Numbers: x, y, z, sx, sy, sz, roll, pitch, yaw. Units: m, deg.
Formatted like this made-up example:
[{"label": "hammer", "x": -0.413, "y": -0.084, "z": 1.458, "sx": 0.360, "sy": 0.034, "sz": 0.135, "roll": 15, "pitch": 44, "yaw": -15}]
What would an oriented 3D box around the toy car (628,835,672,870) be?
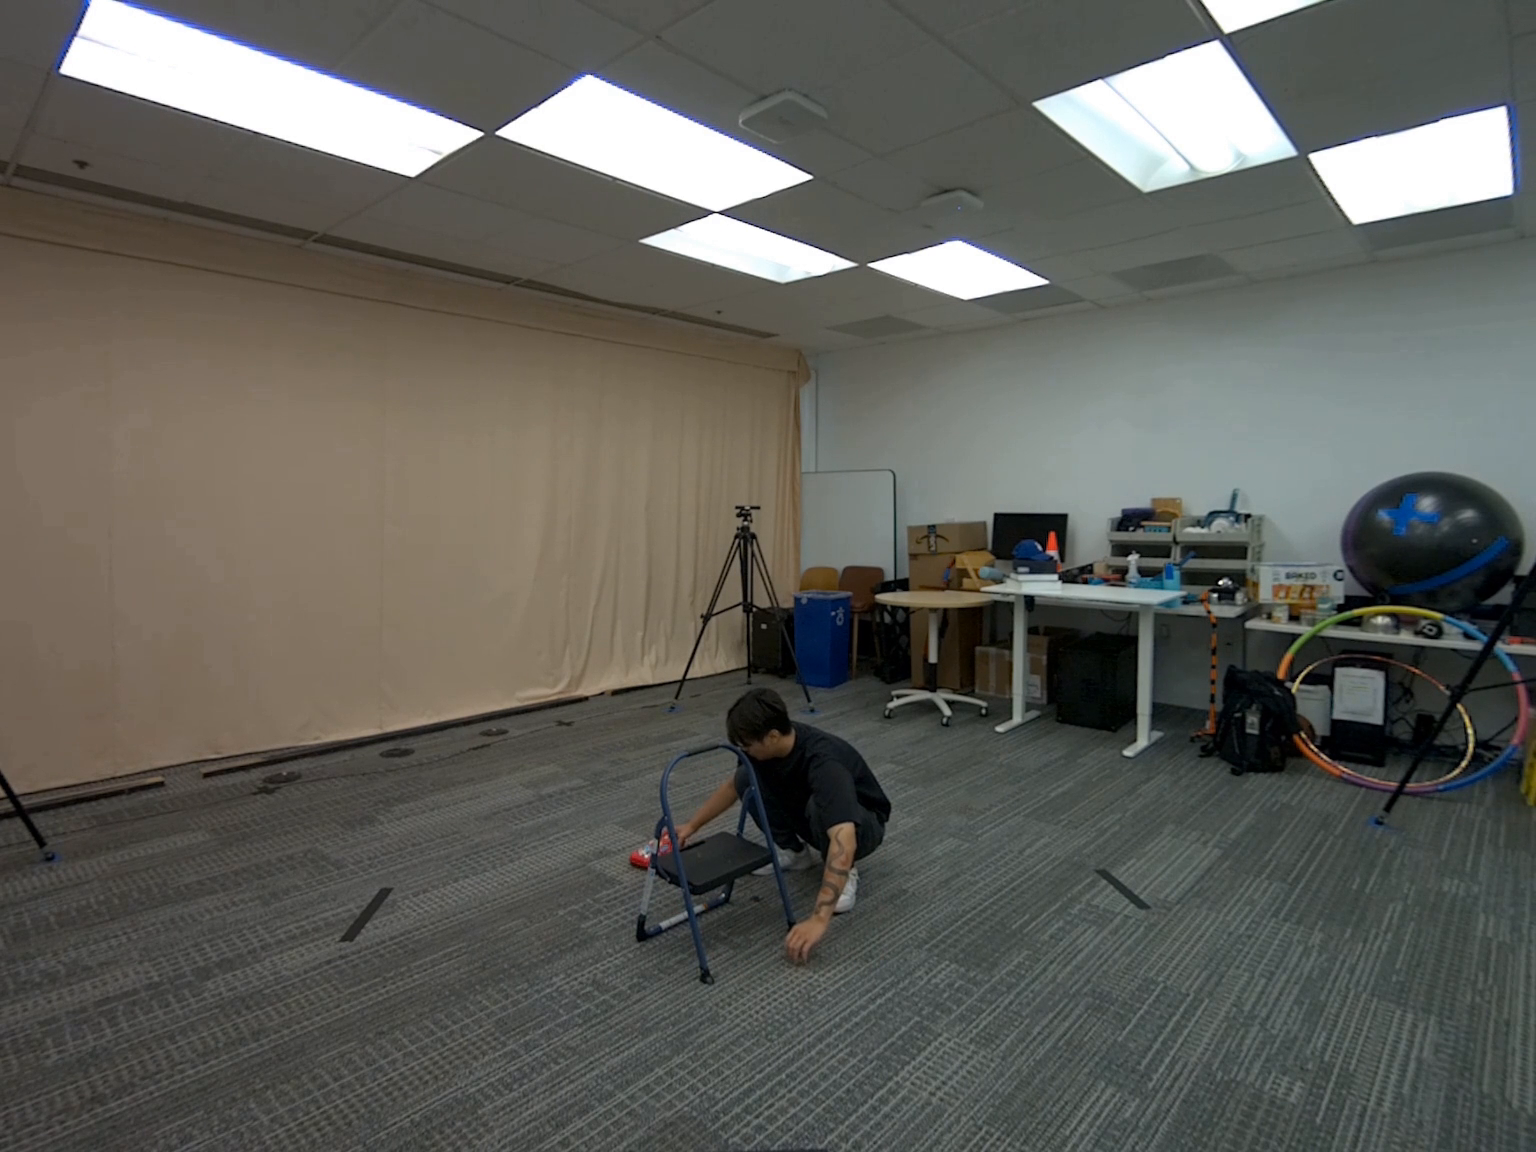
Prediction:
[{"label": "toy car", "x": -0.432, "y": 1.091, "z": 3.330, "sx": 0.134, "sy": 0.082, "sz": 0.249, "roll": -1, "pitch": 12, "yaw": 37}]
